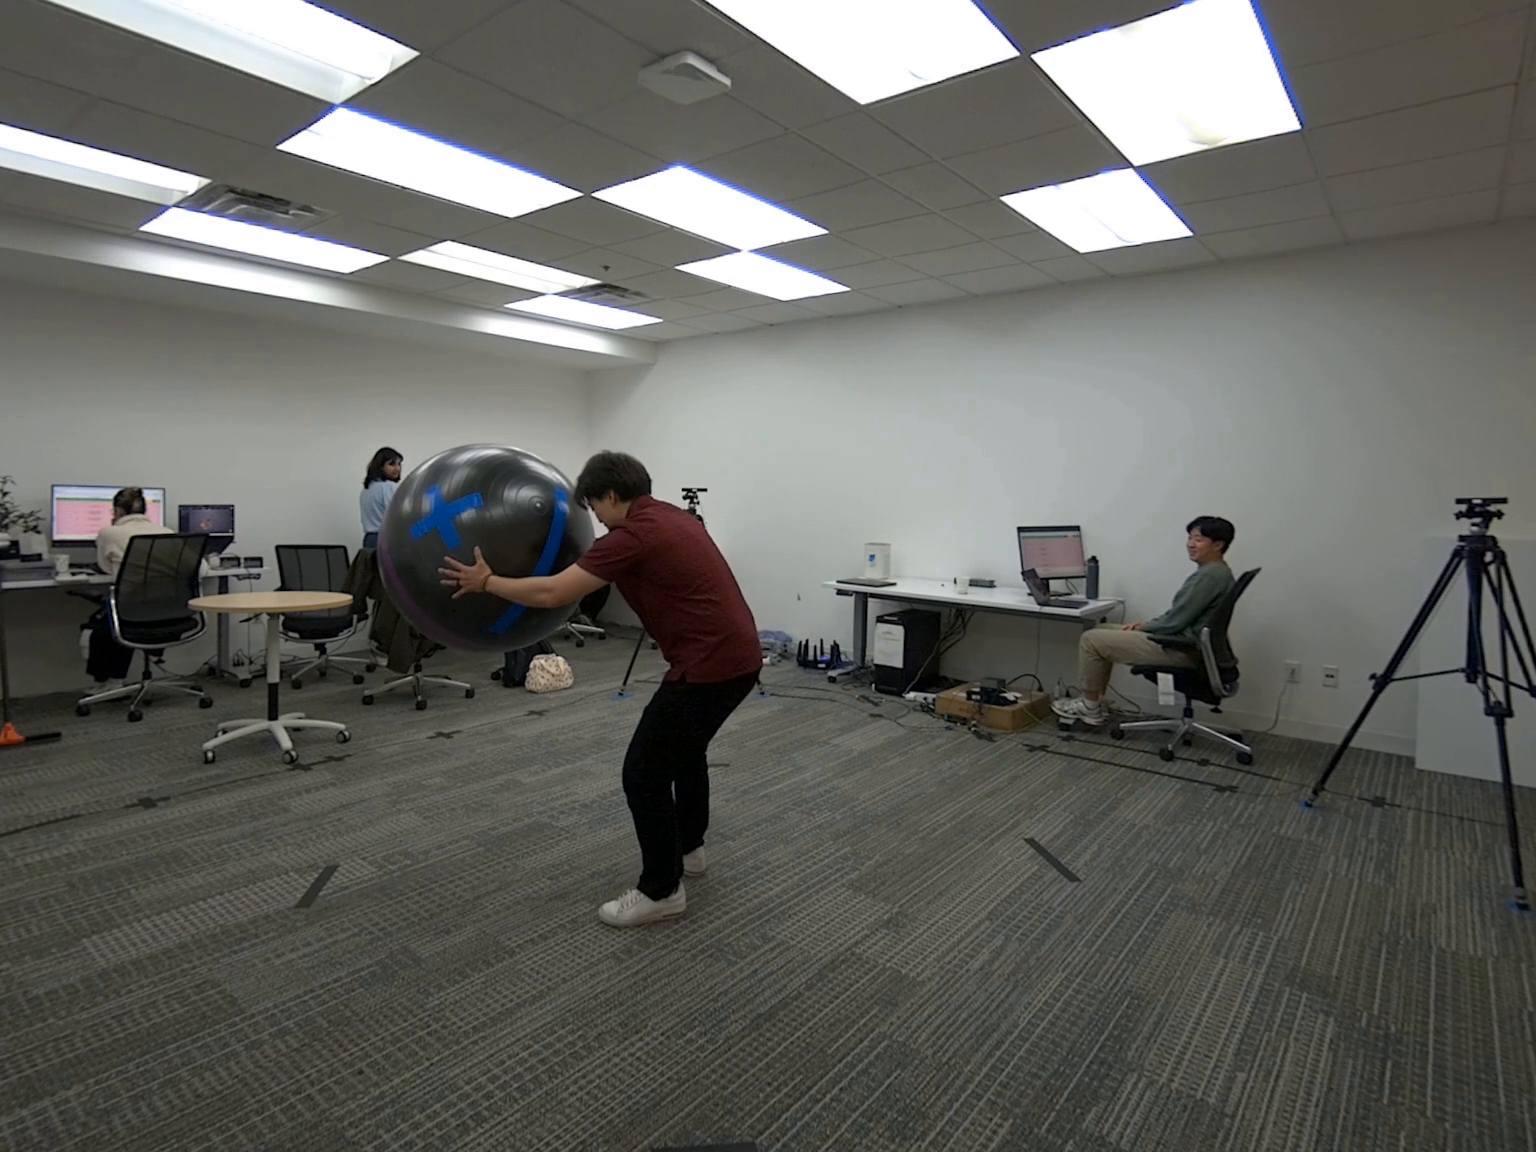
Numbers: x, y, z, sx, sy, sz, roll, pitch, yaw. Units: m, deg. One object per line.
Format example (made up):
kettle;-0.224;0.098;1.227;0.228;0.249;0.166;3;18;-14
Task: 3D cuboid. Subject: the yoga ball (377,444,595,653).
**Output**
yoga ball;-1.027;-0.099;3.089;0.757;0.755;0.762;1;4;-2
